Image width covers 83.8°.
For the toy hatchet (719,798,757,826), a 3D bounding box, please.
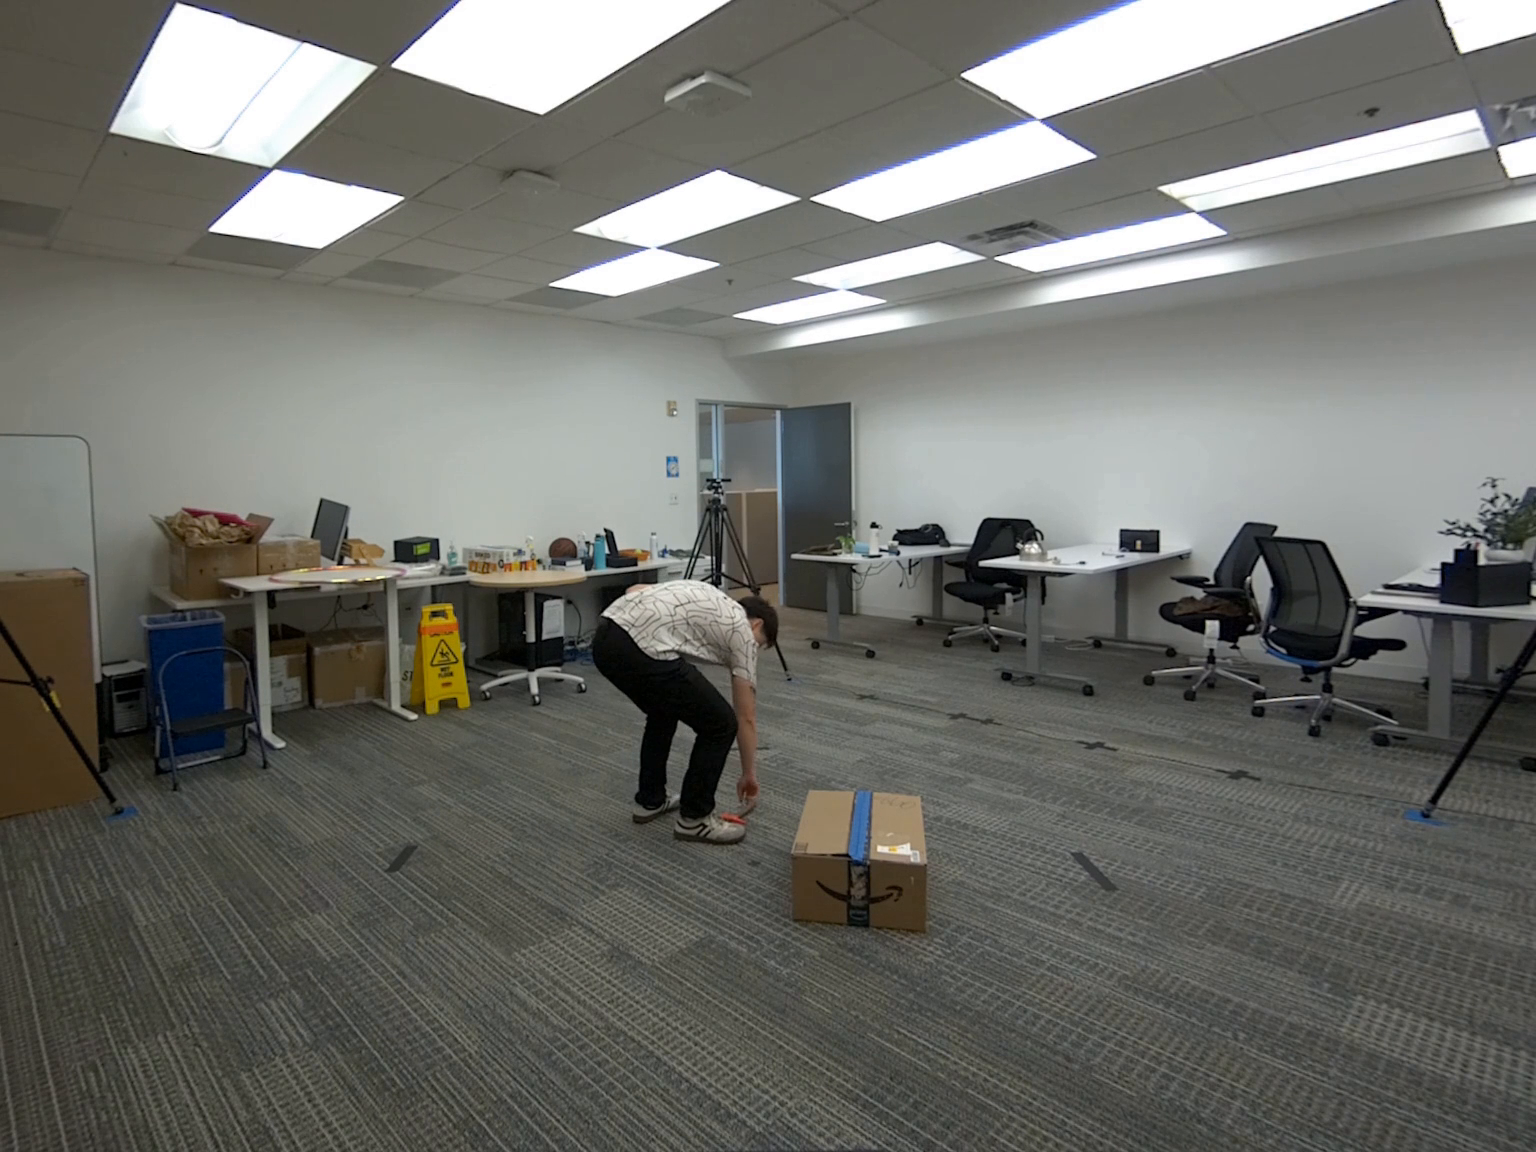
[{"bbox_3d":[-0.137,0.974,3.556,0.132,0.029,0.268,-2,4,10],"label":"toy hatchet"}]
